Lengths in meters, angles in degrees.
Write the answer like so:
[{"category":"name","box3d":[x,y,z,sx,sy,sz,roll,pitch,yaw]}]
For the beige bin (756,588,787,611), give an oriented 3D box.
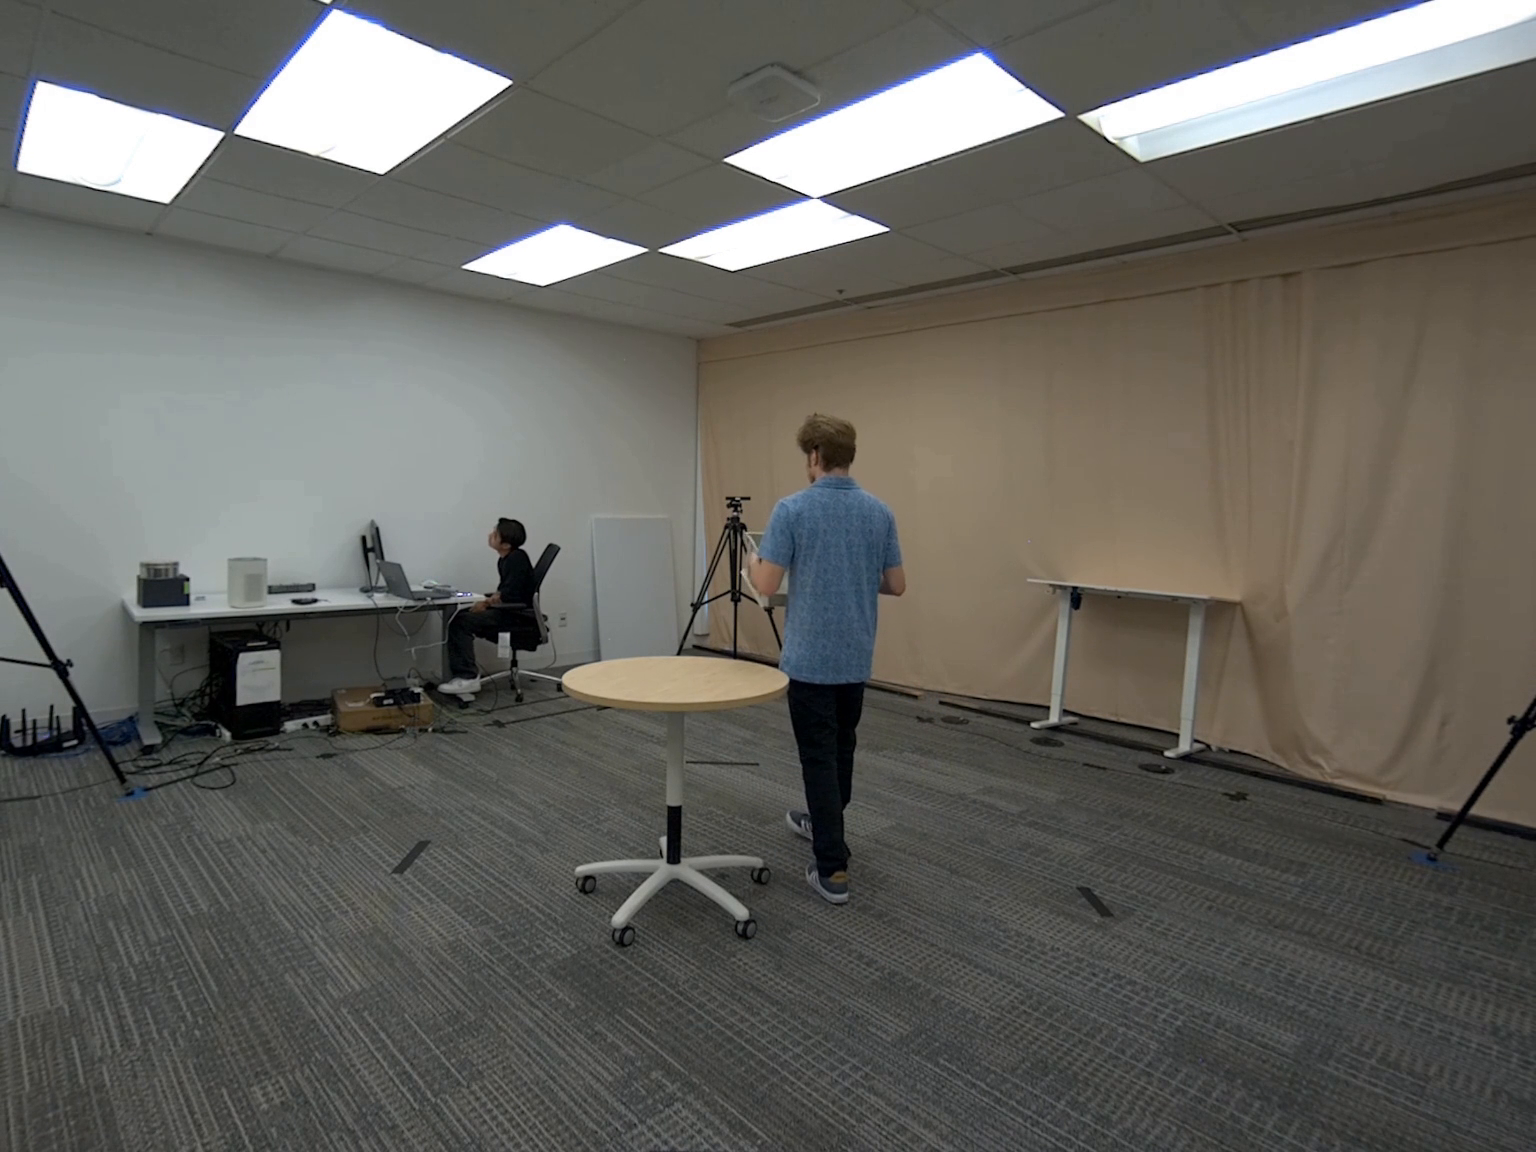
[{"category":"beige bin","box3d":[0.141,-0.012,3.399,0.416,0.187,0.387,2,23,-18]}]
